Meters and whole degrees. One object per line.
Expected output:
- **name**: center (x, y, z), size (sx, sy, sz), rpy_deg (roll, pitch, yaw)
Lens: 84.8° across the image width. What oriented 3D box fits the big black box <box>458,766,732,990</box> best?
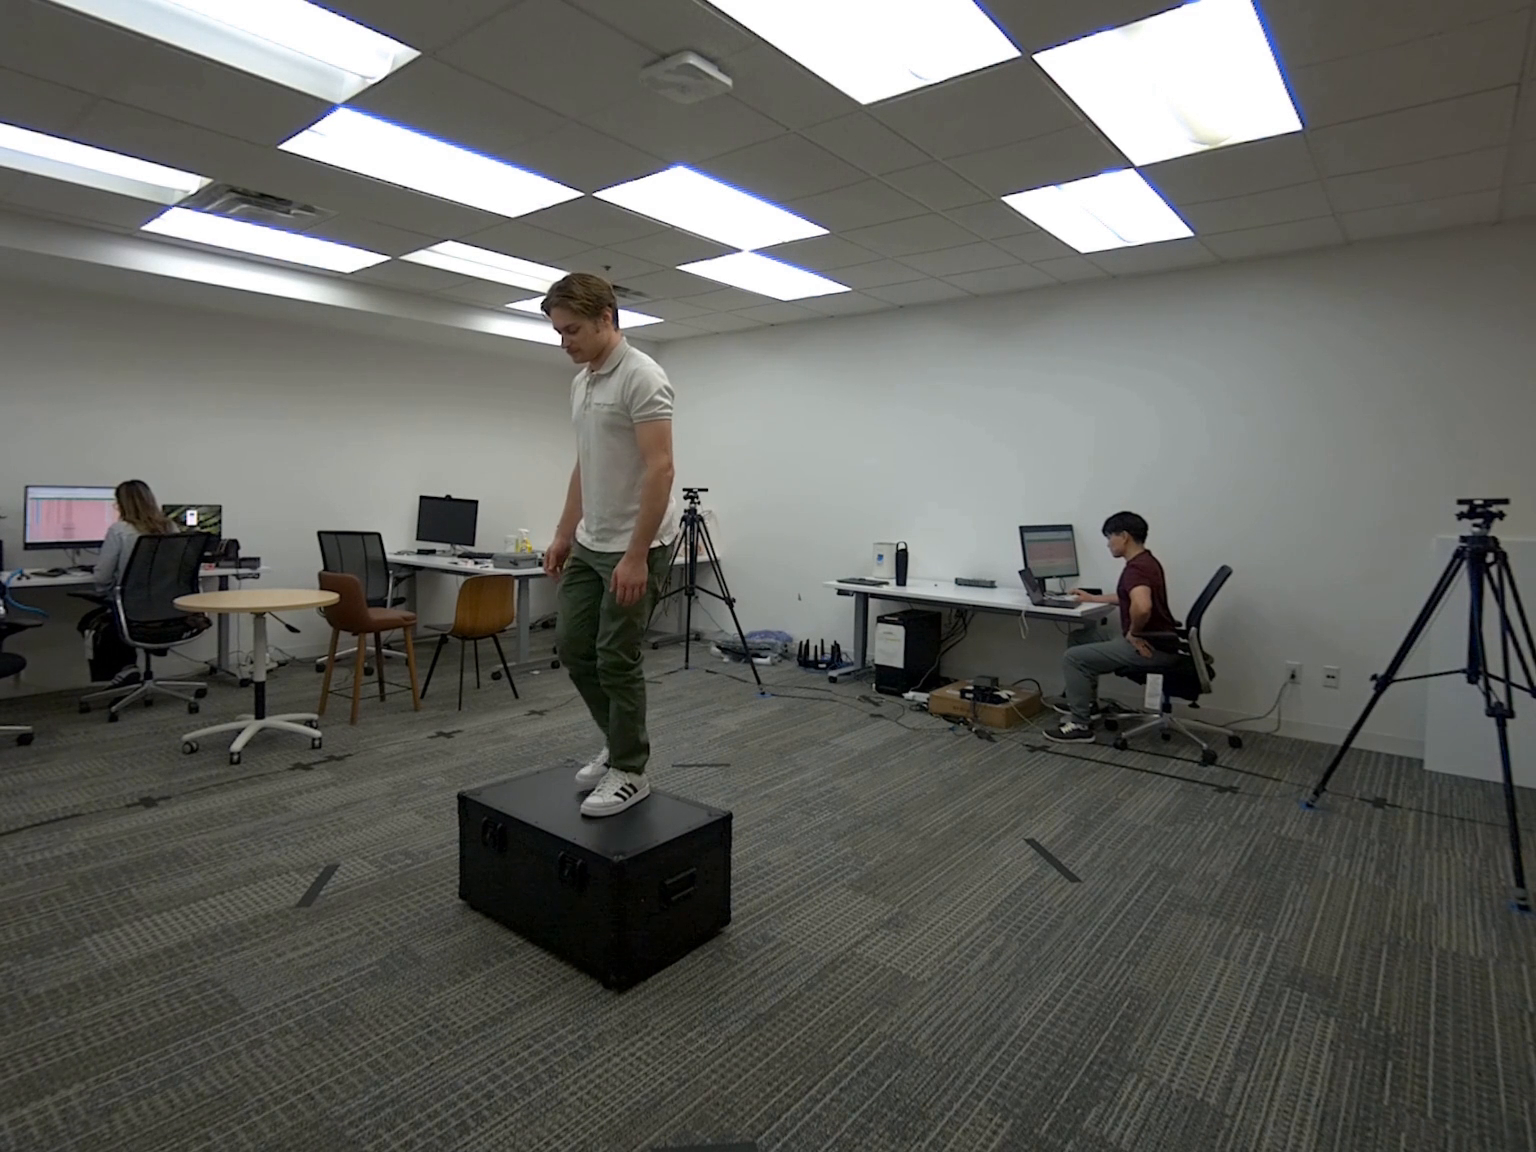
- **big black box**: center (-0.602, 0.905, 2.763), size (0.897, 0.383, 0.508), rpy_deg (5, 7, 39)
